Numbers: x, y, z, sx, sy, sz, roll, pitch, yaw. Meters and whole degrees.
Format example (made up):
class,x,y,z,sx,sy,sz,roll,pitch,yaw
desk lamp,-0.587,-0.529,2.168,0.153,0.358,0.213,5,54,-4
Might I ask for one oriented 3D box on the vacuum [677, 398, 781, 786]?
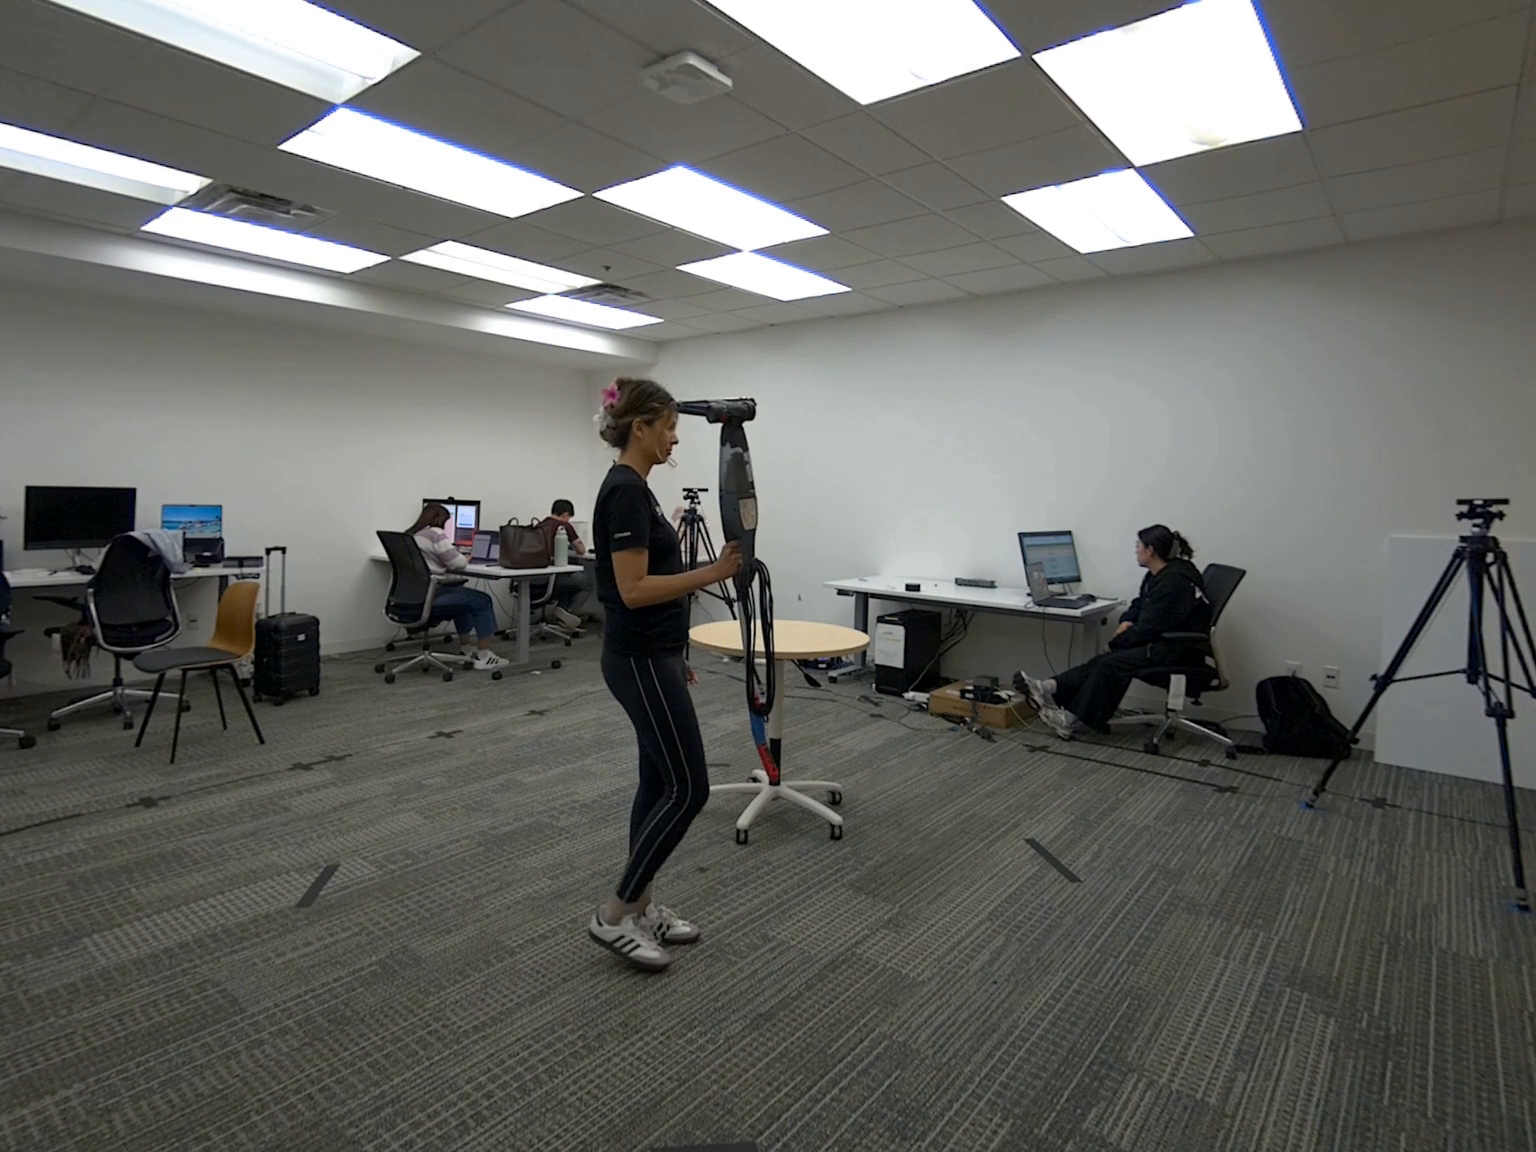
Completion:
class,x,y,z,sx,sy,sz,roll,pitch,yaw
vacuum,-0.061,0.040,2.343,0.247,1.048,0.147,-9,1,-28
